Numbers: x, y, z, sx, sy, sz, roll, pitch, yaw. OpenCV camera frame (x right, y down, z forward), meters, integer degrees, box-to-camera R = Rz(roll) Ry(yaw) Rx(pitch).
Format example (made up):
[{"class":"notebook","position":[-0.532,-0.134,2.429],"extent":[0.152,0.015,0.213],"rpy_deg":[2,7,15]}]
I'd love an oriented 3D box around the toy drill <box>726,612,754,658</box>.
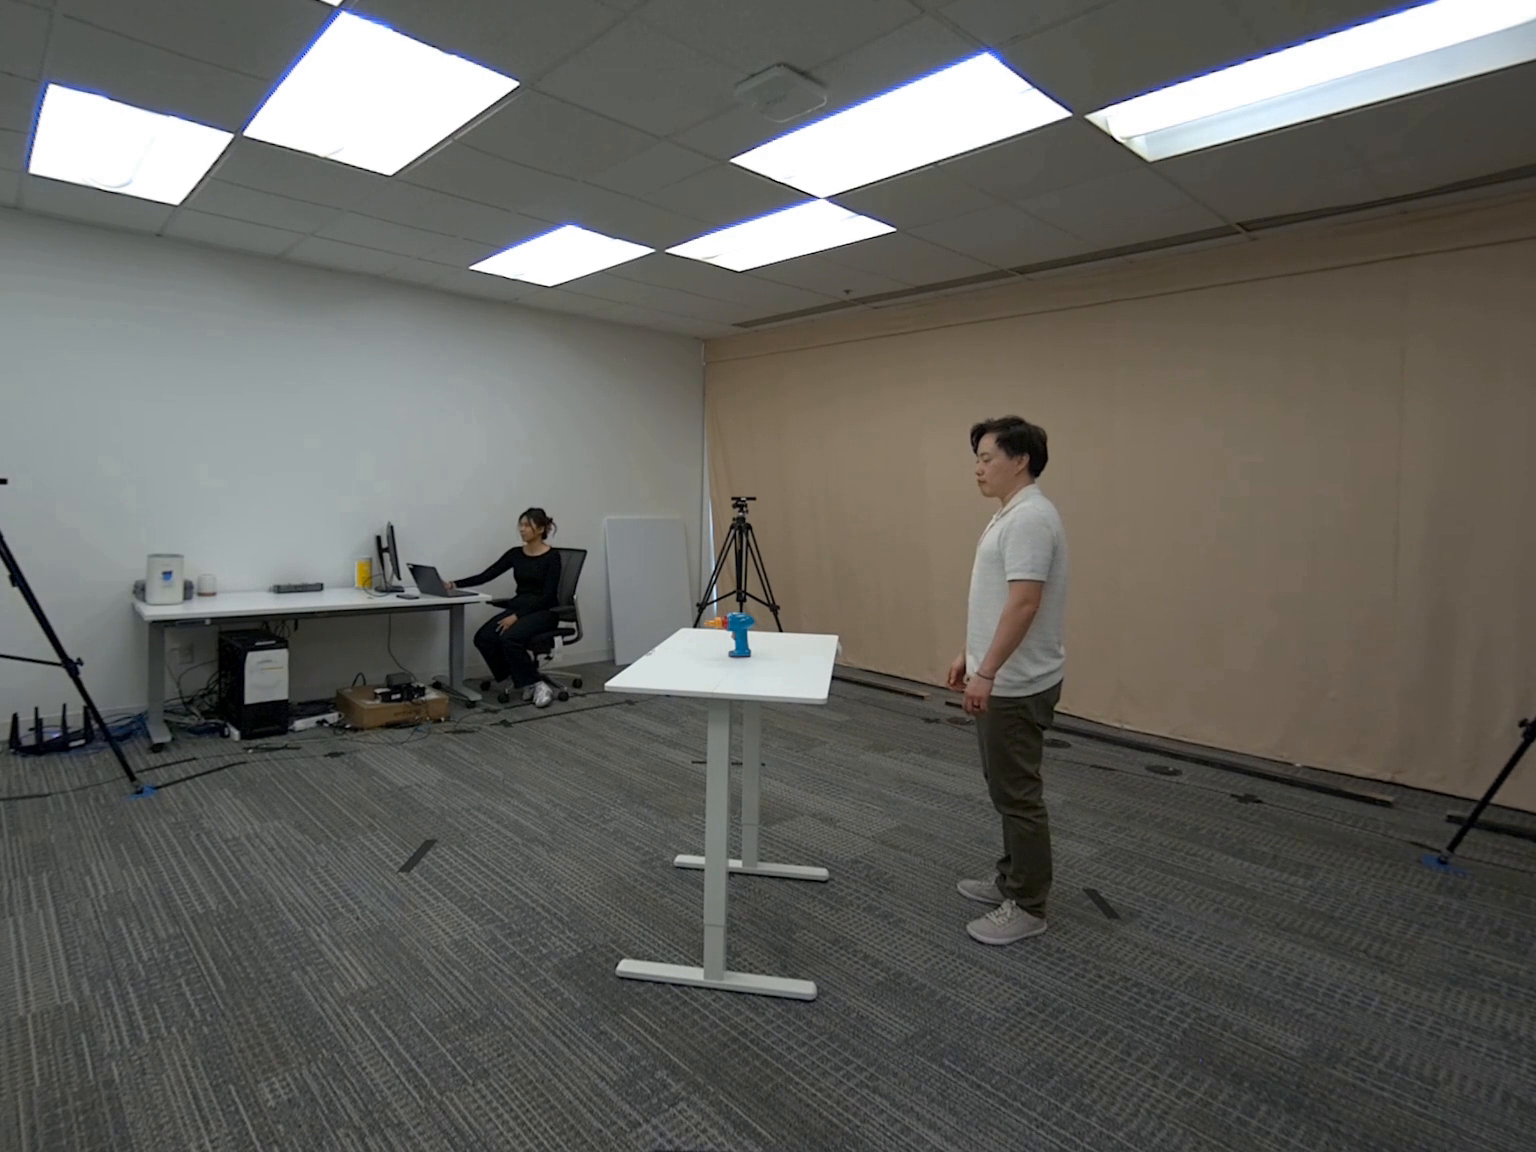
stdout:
[{"class":"toy drill","position":[-0.116,0.191,2.706],"extent":[0.168,0.145,0.062],"rpy_deg":[0,5,-12]}]
